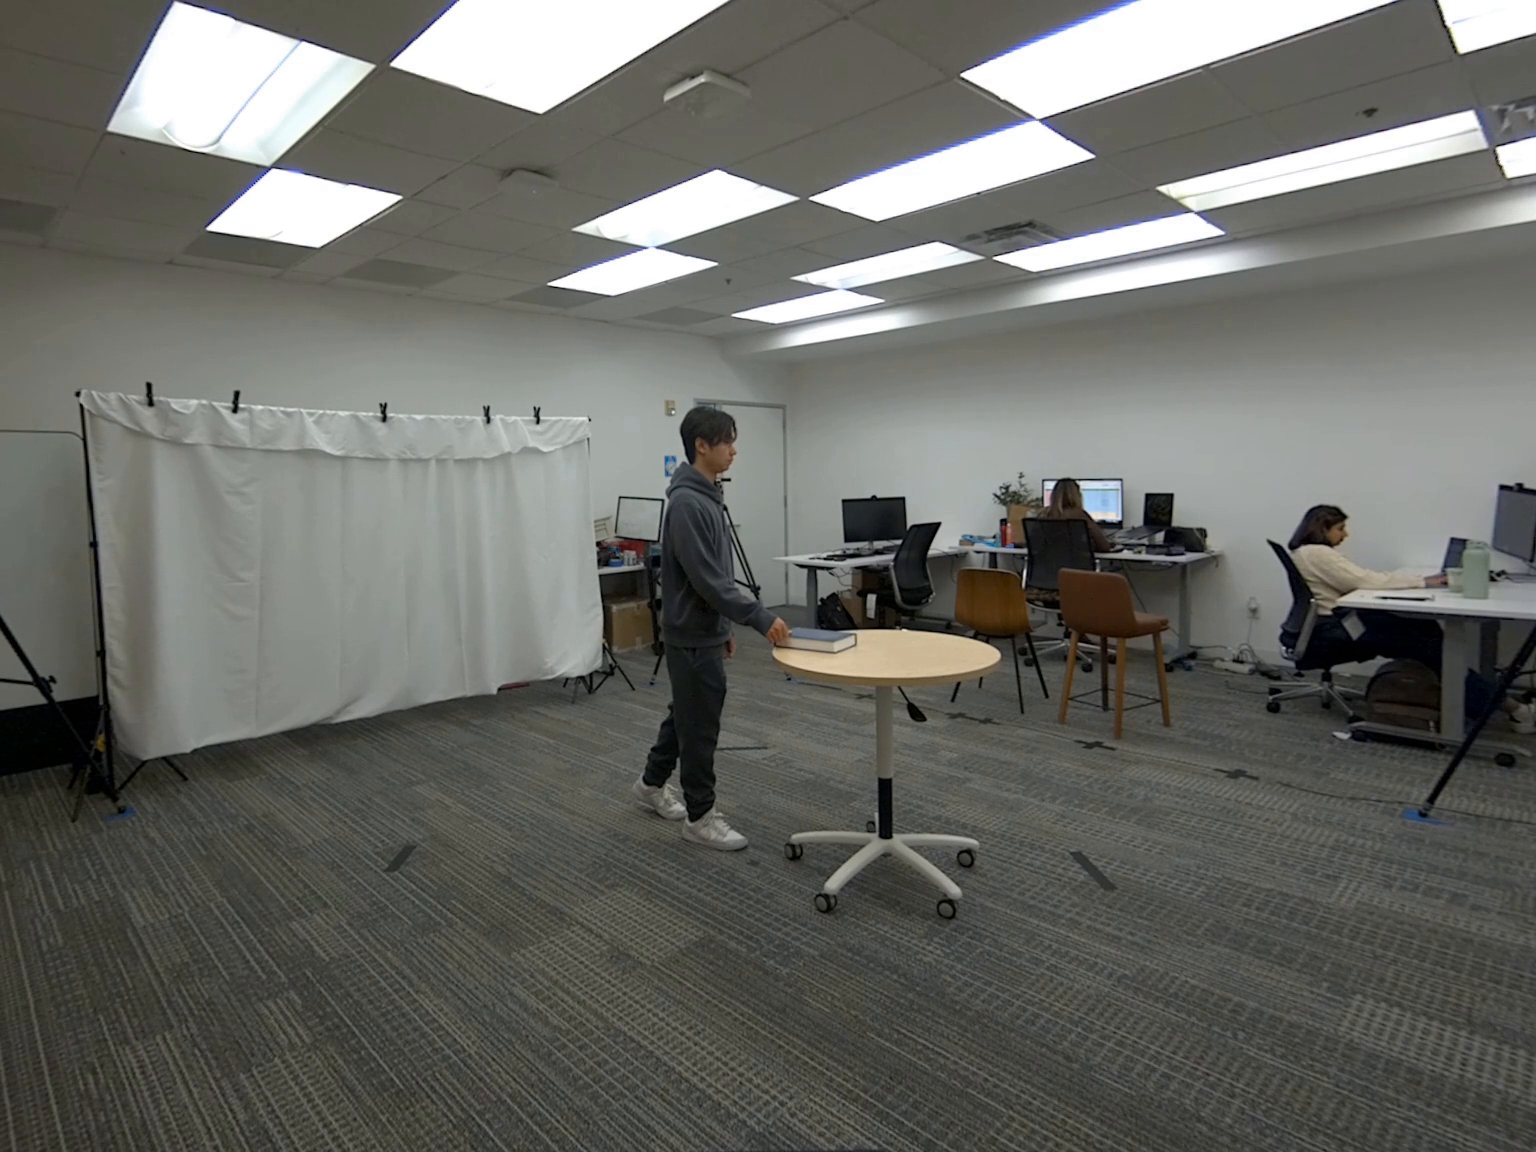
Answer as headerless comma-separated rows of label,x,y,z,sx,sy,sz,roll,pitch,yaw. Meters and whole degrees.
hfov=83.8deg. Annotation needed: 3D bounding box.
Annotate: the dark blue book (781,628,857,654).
dark blue book,0.177,0.232,3.037,0.252,0.045,0.159,4,8,34
